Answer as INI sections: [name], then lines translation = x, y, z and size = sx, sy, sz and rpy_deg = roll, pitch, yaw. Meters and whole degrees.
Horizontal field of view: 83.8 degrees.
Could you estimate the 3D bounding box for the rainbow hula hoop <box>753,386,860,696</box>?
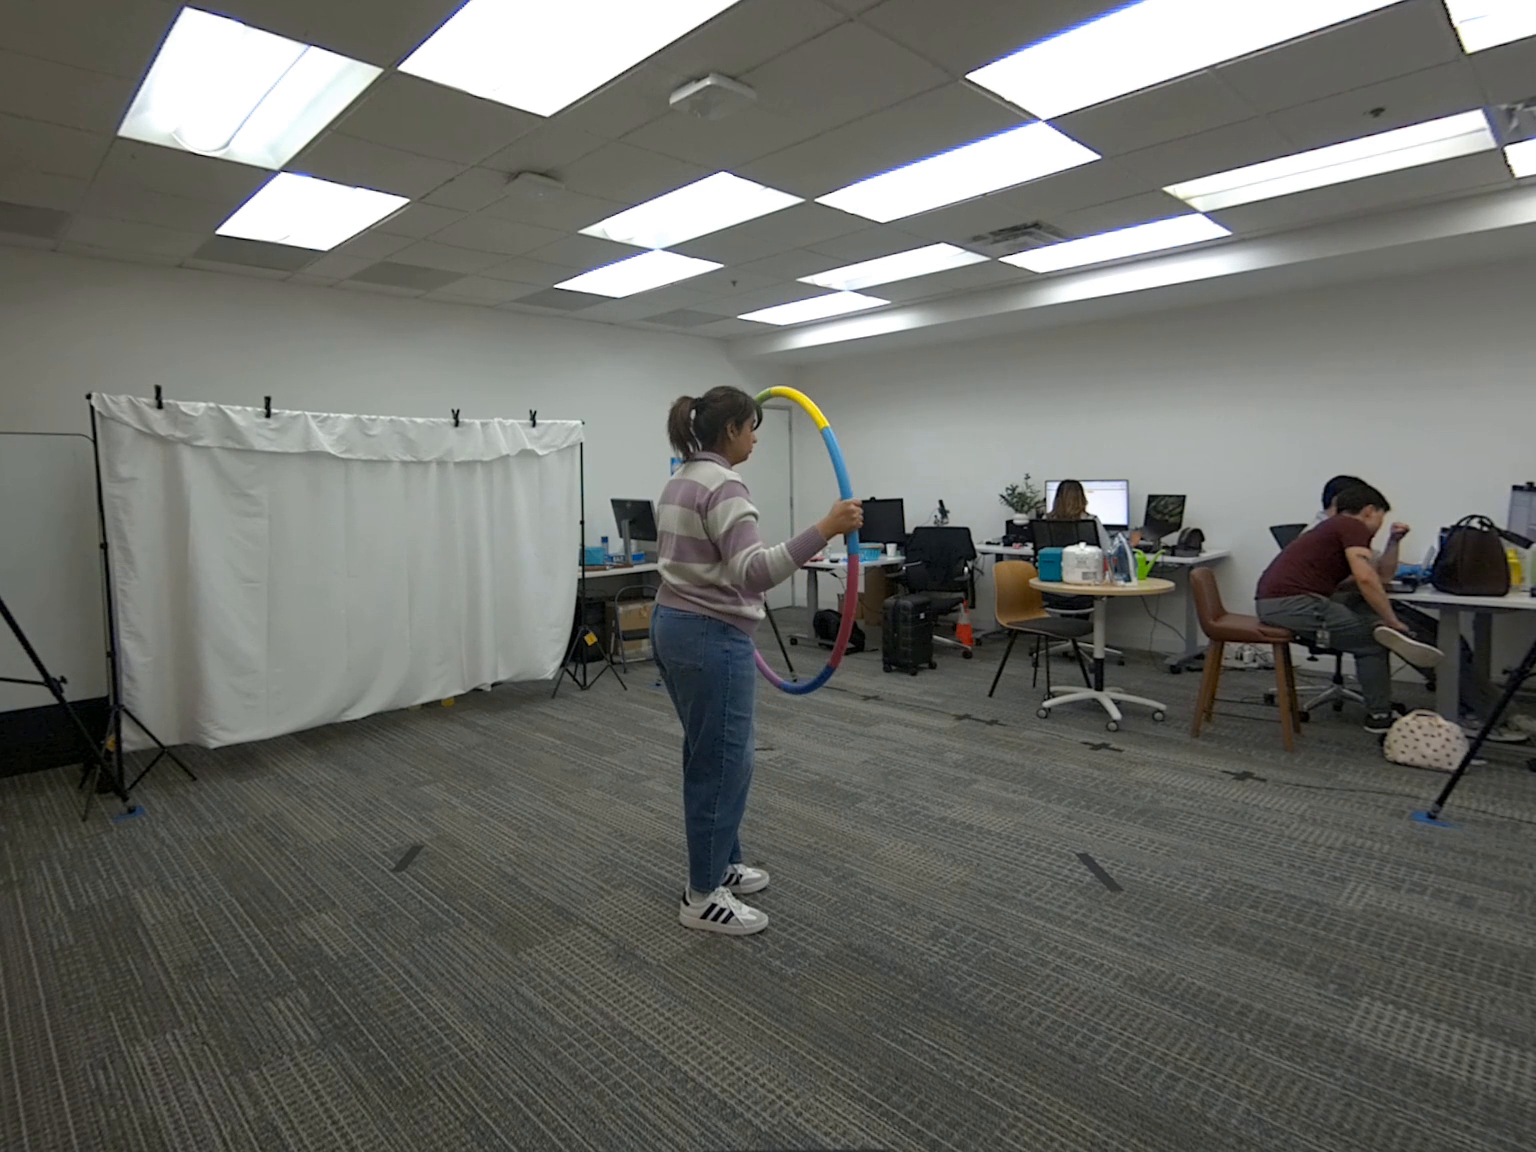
[rainbow hula hoop]
translation = 0.030, -0.115, 2.784
size = 0.035, 0.975, 1.002
rpy_deg = -3, 5, -24
